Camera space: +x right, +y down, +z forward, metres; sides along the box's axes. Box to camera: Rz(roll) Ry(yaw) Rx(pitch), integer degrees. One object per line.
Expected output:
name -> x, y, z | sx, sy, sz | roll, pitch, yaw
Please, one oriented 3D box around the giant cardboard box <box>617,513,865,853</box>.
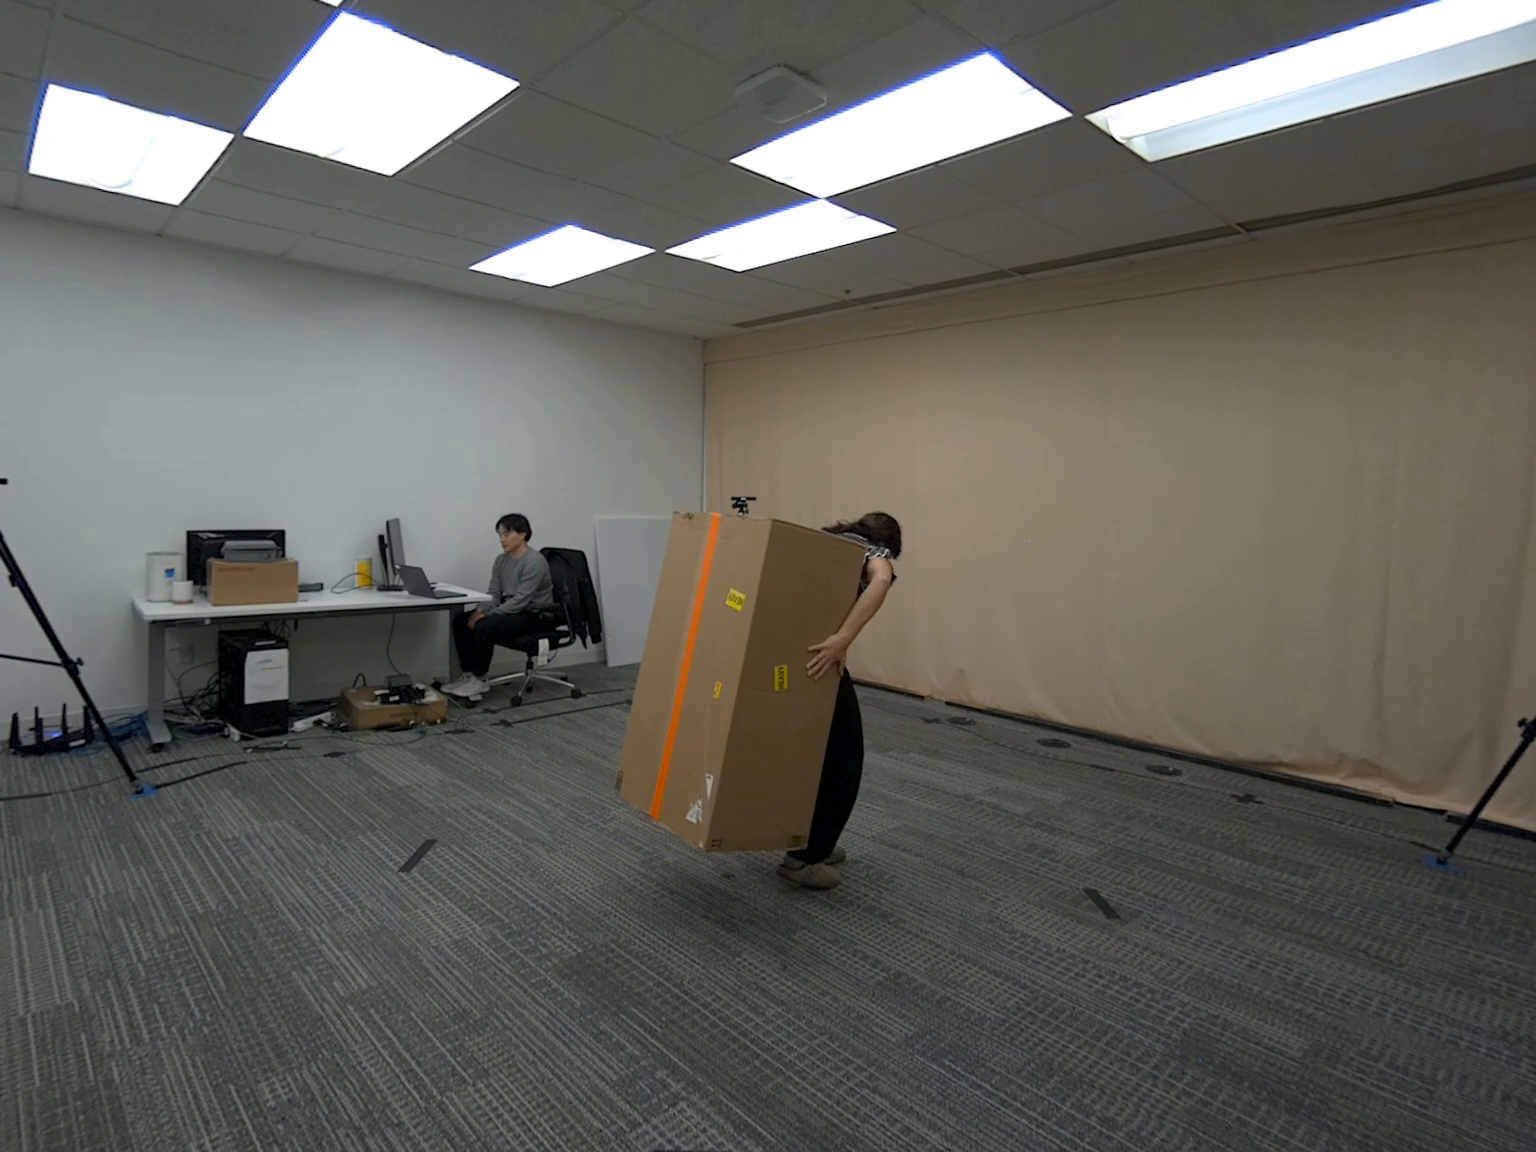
giant cardboard box -> -0.118, 0.340, 2.872 | 0.415, 1.028, 0.592 | 14, -4, -37
